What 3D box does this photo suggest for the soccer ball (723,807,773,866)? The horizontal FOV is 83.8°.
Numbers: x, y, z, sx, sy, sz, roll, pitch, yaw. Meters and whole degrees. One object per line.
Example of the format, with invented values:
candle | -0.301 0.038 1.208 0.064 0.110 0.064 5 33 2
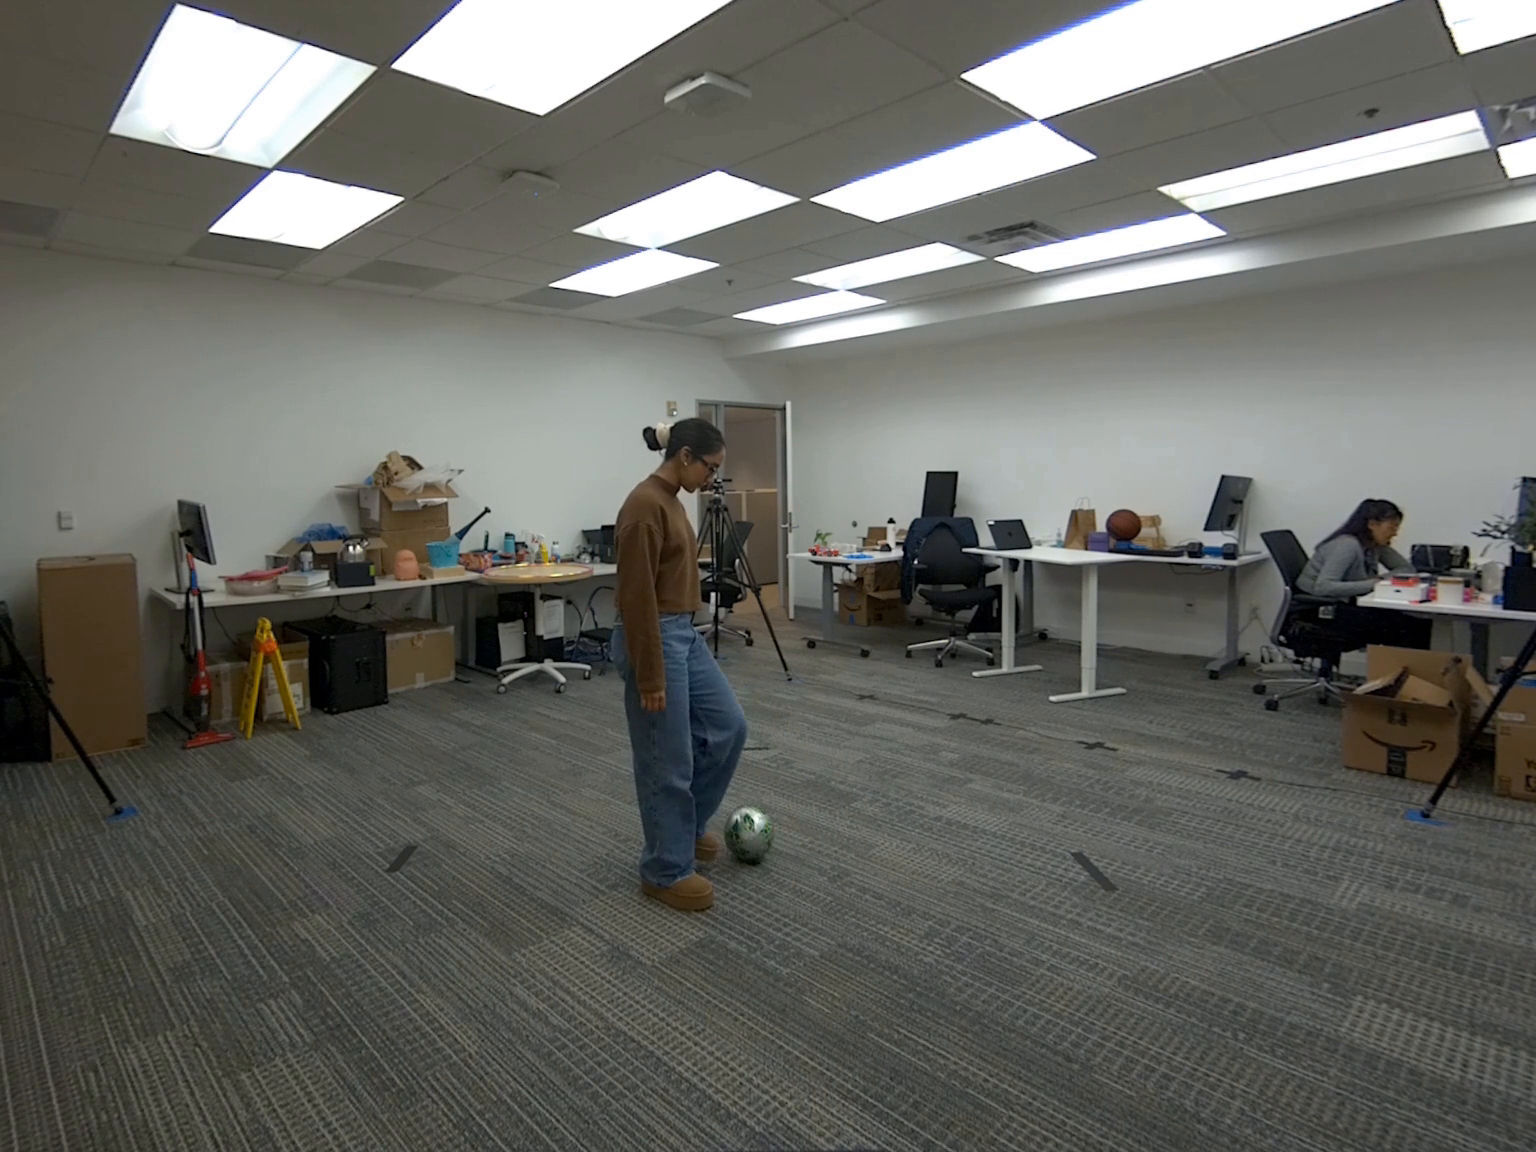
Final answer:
soccer ball | -0.067 0.947 3.139 0.187 0.187 0.188 -1 5 -2
